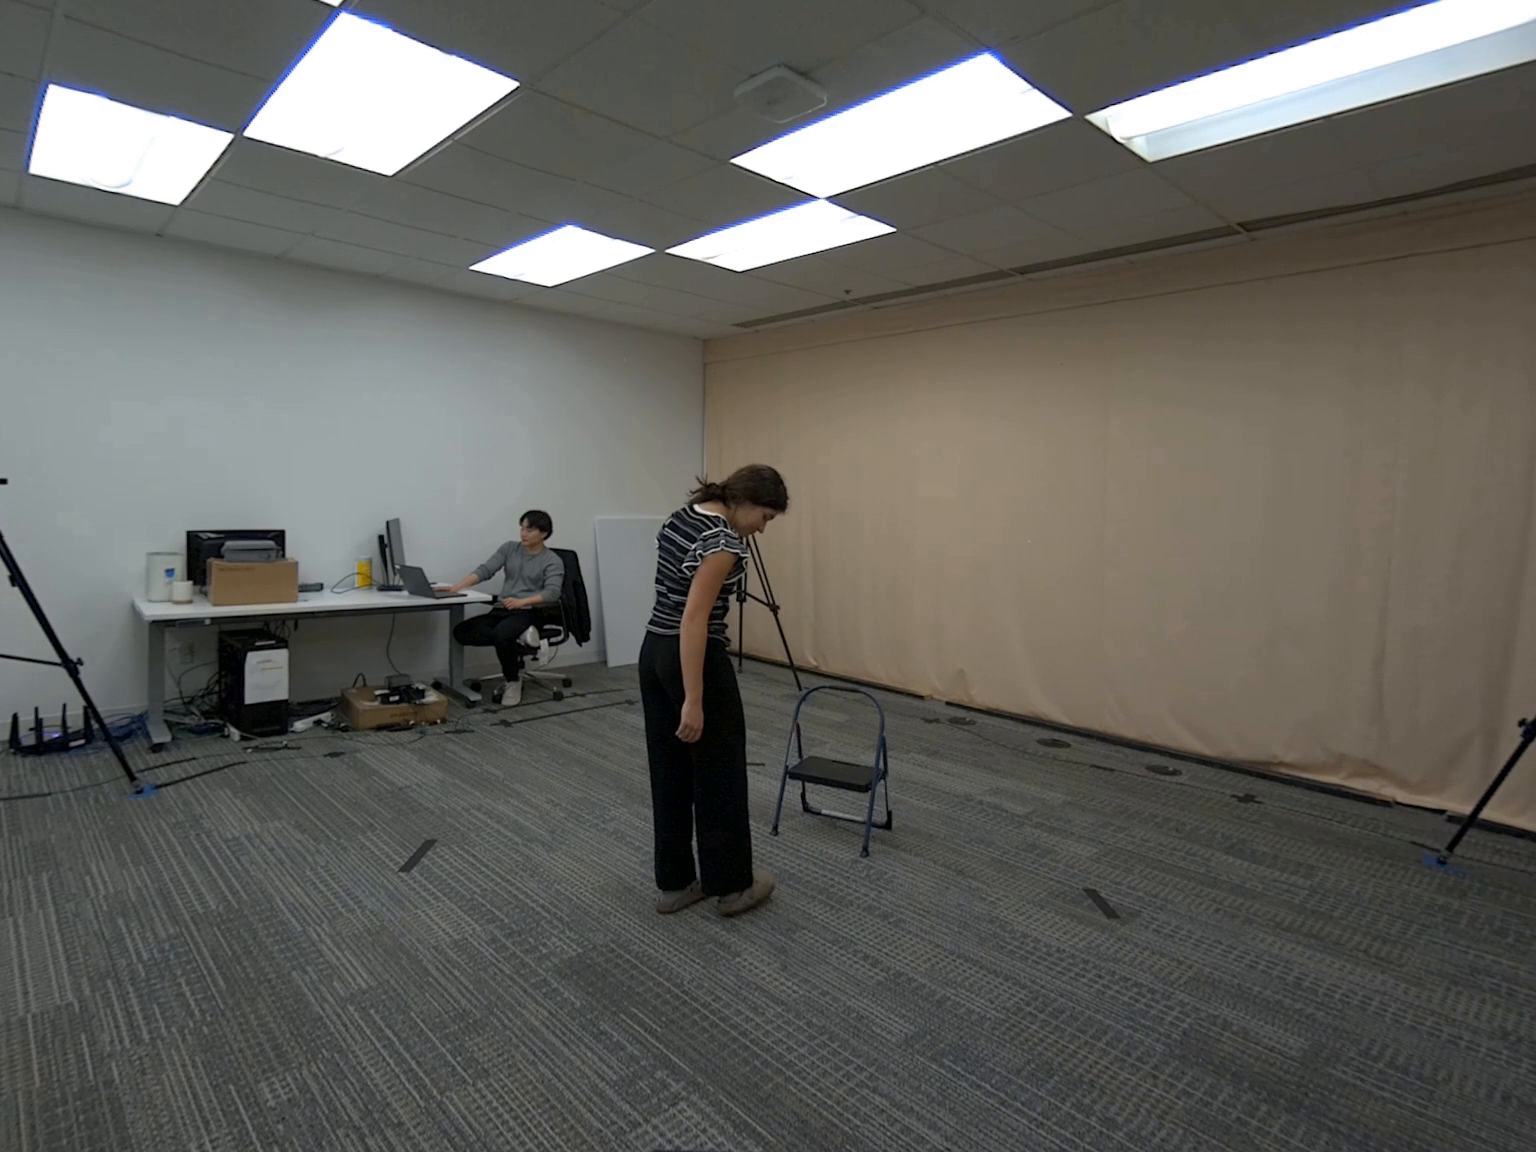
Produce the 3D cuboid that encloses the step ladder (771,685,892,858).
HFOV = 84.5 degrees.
[{"bbox_3d":[0.275,0.779,3.533,0.439,0.604,0.343,4,4,27],"label":"step ladder"}]
